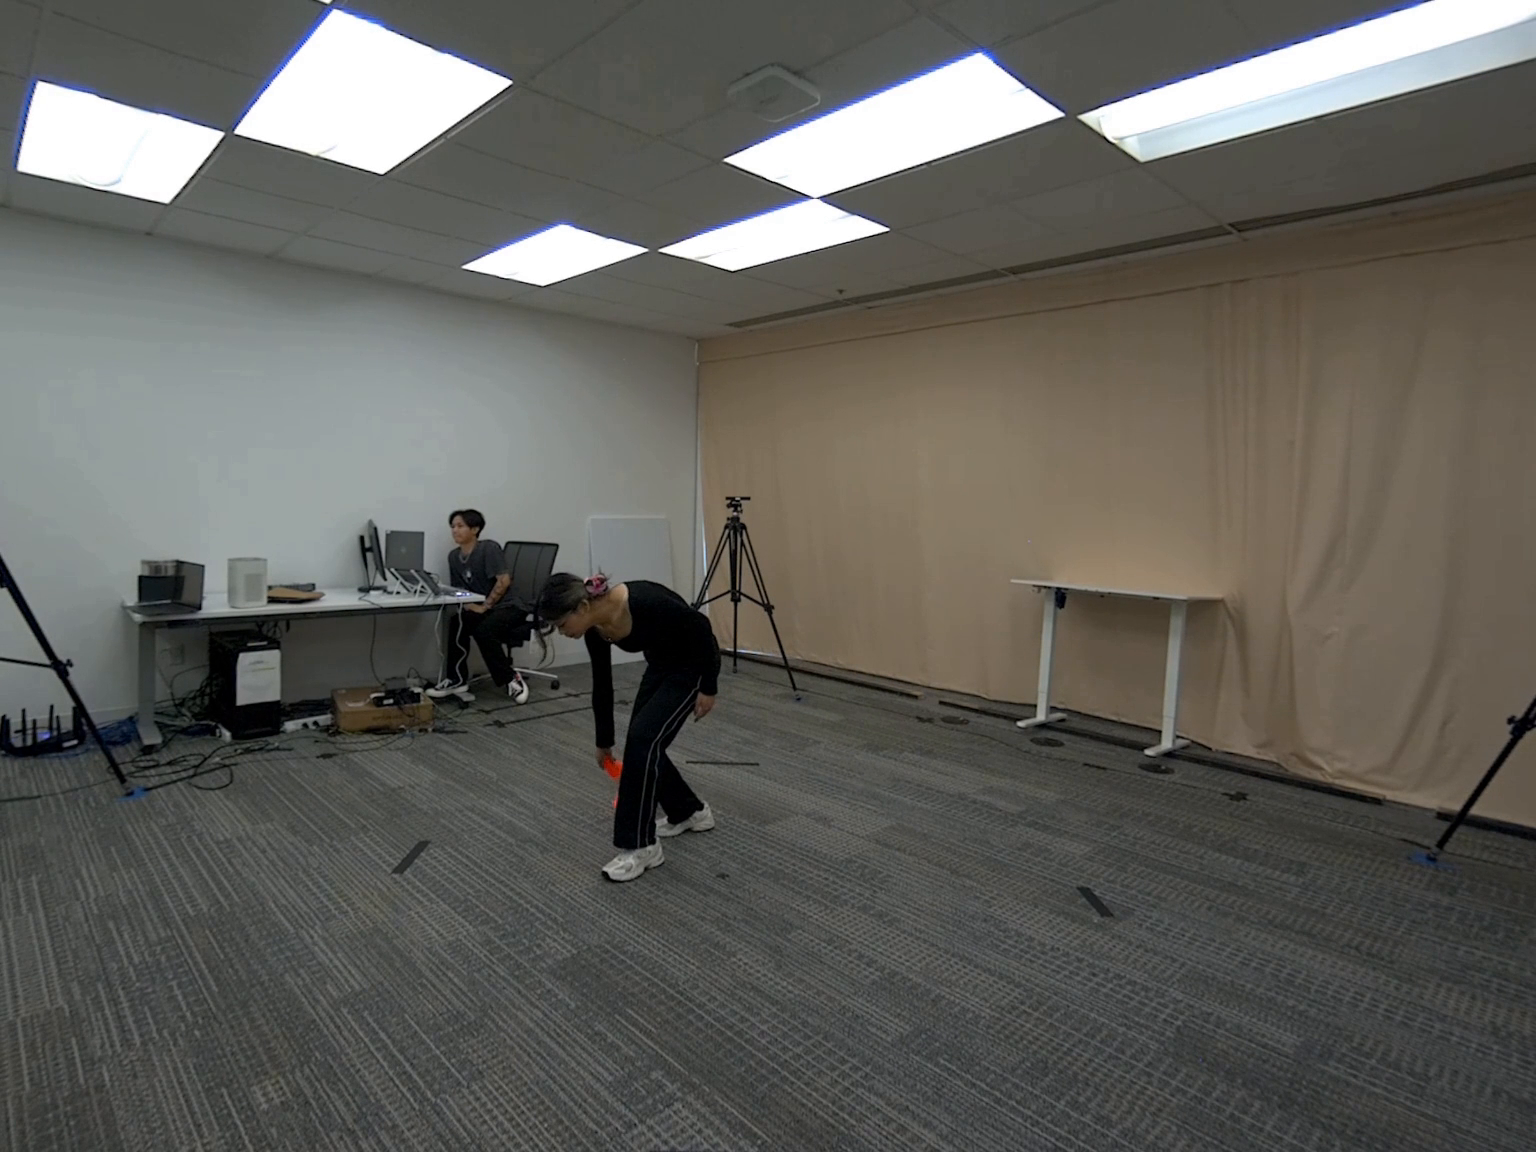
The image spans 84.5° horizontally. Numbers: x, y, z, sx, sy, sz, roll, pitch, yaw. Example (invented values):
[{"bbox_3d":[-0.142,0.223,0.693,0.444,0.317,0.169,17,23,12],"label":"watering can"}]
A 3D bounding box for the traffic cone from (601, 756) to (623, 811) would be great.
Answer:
[{"bbox_3d":[-0.642,0.864,3.629,0.209,0.205,0.372,7,-32,25],"label":"traffic cone"}]
